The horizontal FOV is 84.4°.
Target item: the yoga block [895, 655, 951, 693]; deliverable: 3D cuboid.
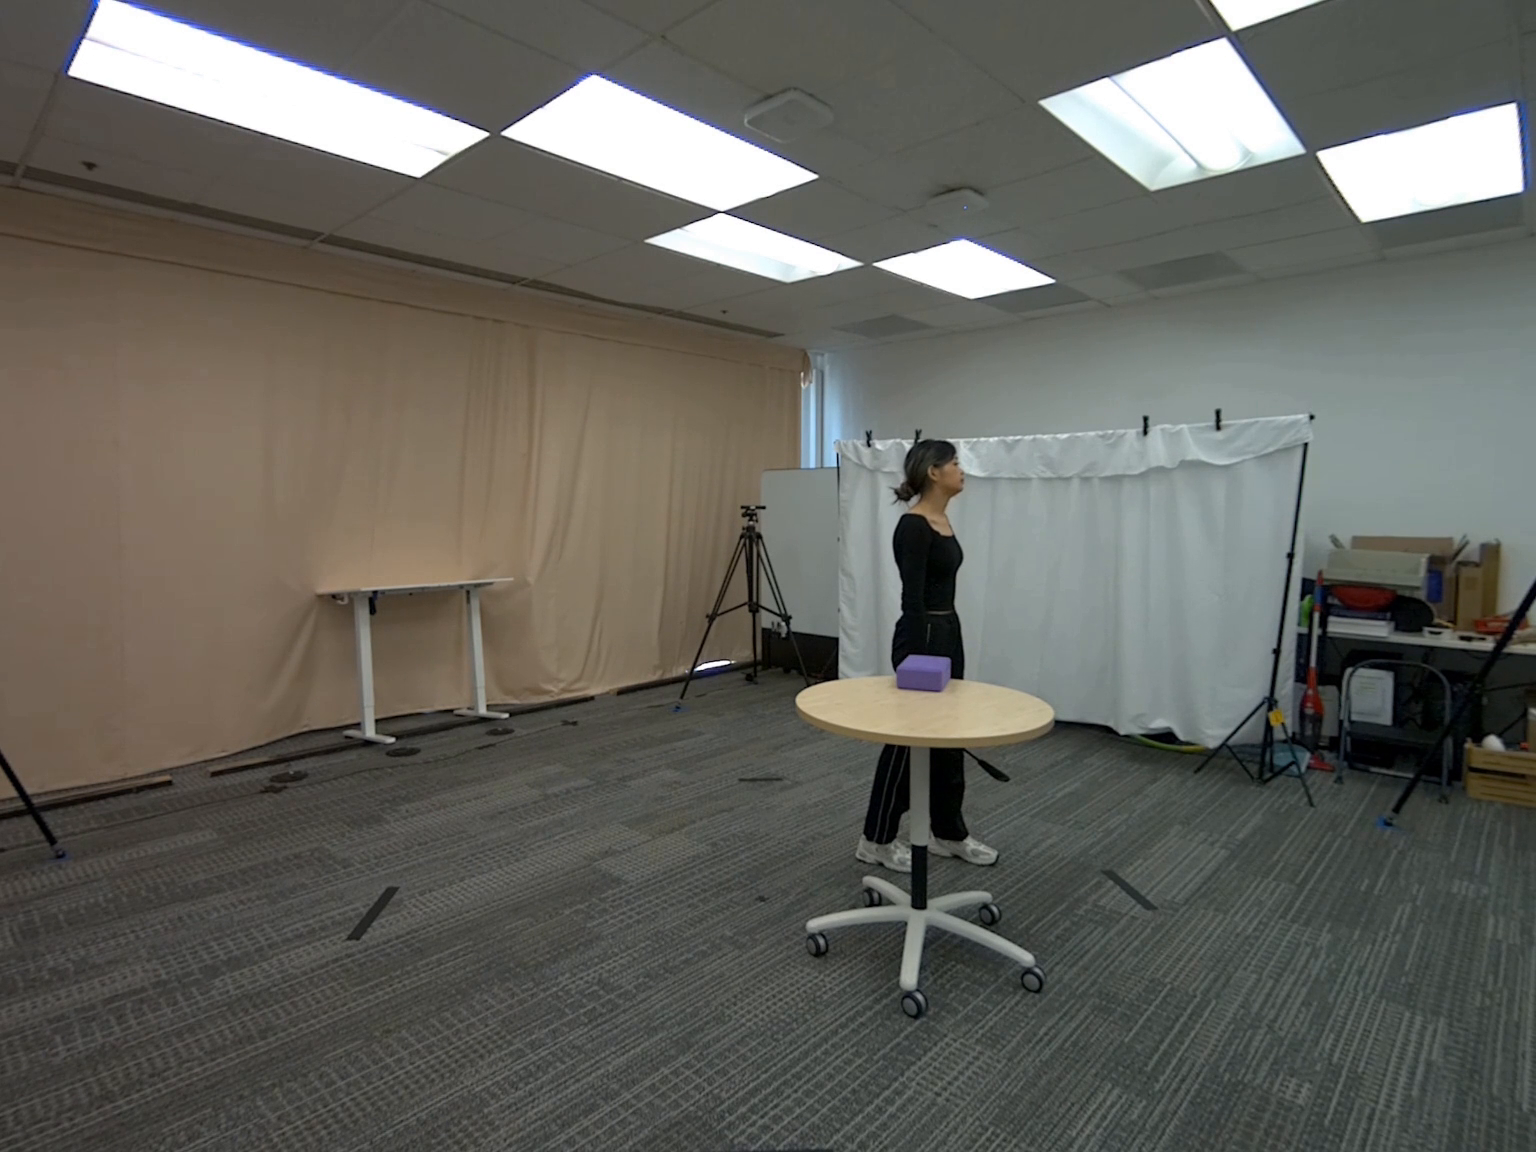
[{"bbox_3d":[0.538,0.329,2.845,0.152,0.076,0.225,3,6,21],"label":"yoga block"}]
